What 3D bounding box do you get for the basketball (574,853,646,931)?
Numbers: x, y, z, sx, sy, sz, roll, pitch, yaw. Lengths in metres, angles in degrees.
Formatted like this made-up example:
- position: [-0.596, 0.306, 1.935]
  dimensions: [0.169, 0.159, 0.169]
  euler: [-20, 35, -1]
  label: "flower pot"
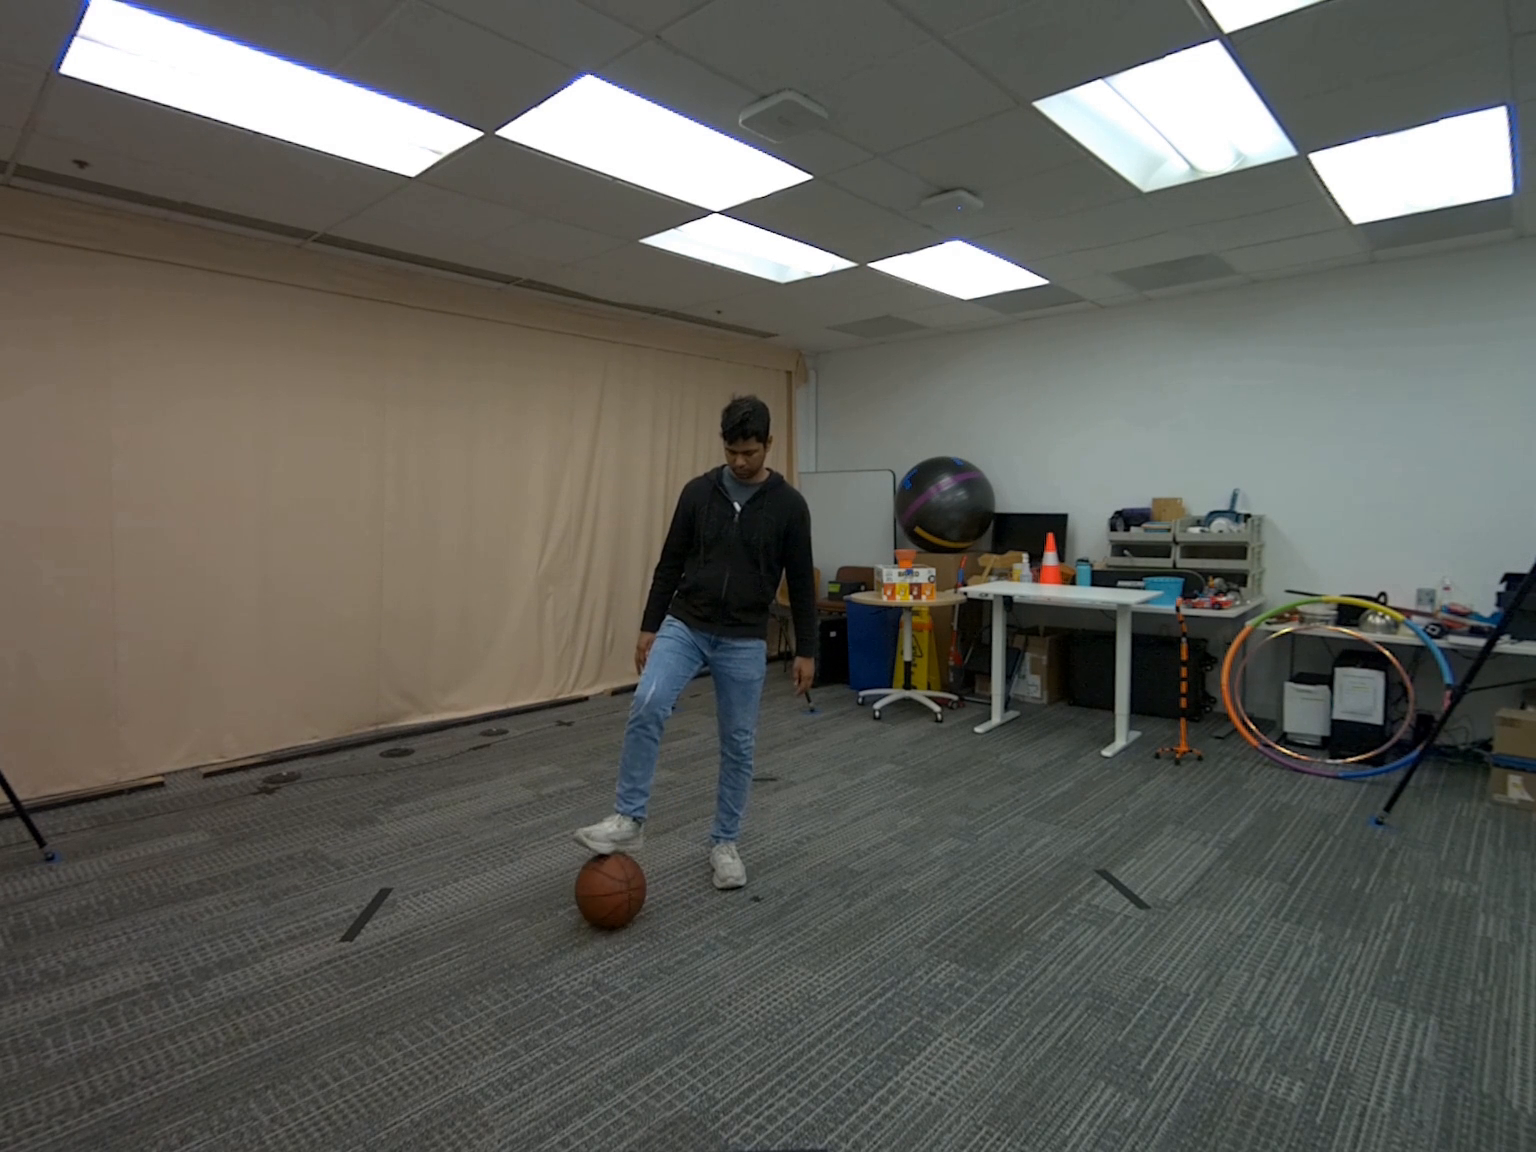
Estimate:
- position: [-0.509, 1.041, 2.807]
  dimensions: [0.236, 0.235, 0.237]
  euler: [0, 4, -2]
  label: "basketball"
